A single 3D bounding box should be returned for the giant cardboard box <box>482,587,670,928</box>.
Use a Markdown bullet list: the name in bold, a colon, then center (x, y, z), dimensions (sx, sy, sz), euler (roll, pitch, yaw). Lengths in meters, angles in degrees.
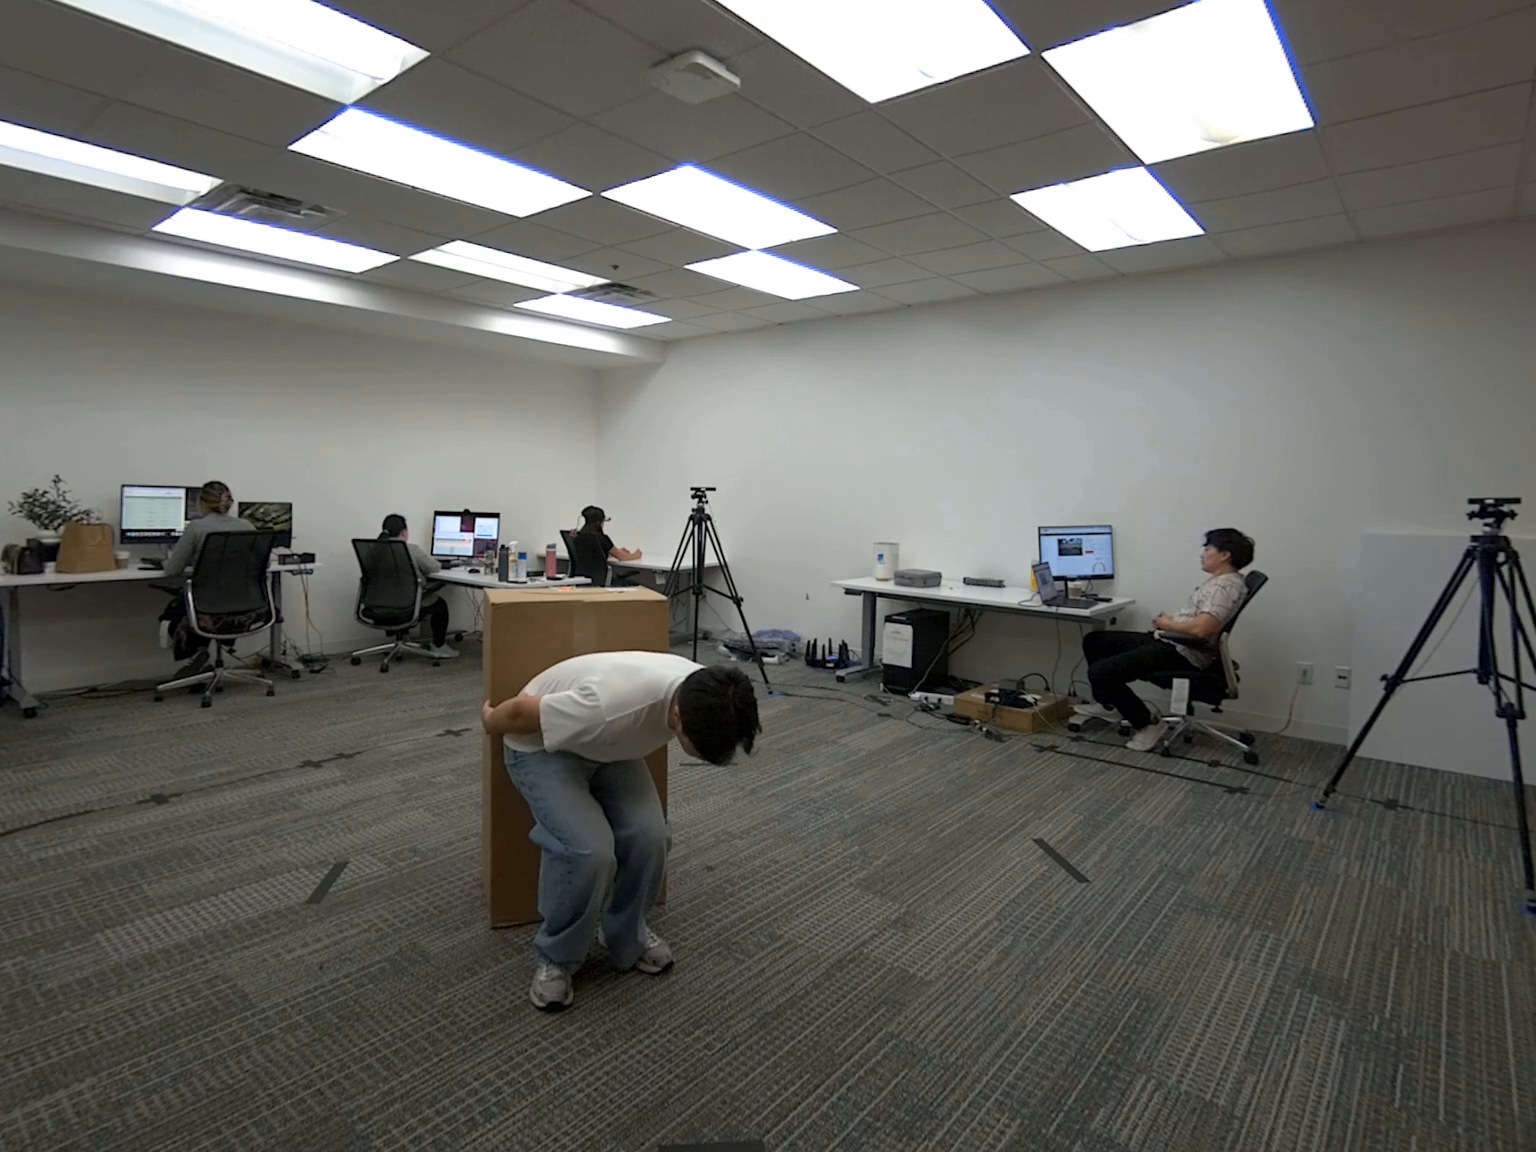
- **giant cardboard box**: center (-0.686, 0.565, 2.922), dimensions (0.565, 1.024, 0.436), euler (0, 3, -21)
